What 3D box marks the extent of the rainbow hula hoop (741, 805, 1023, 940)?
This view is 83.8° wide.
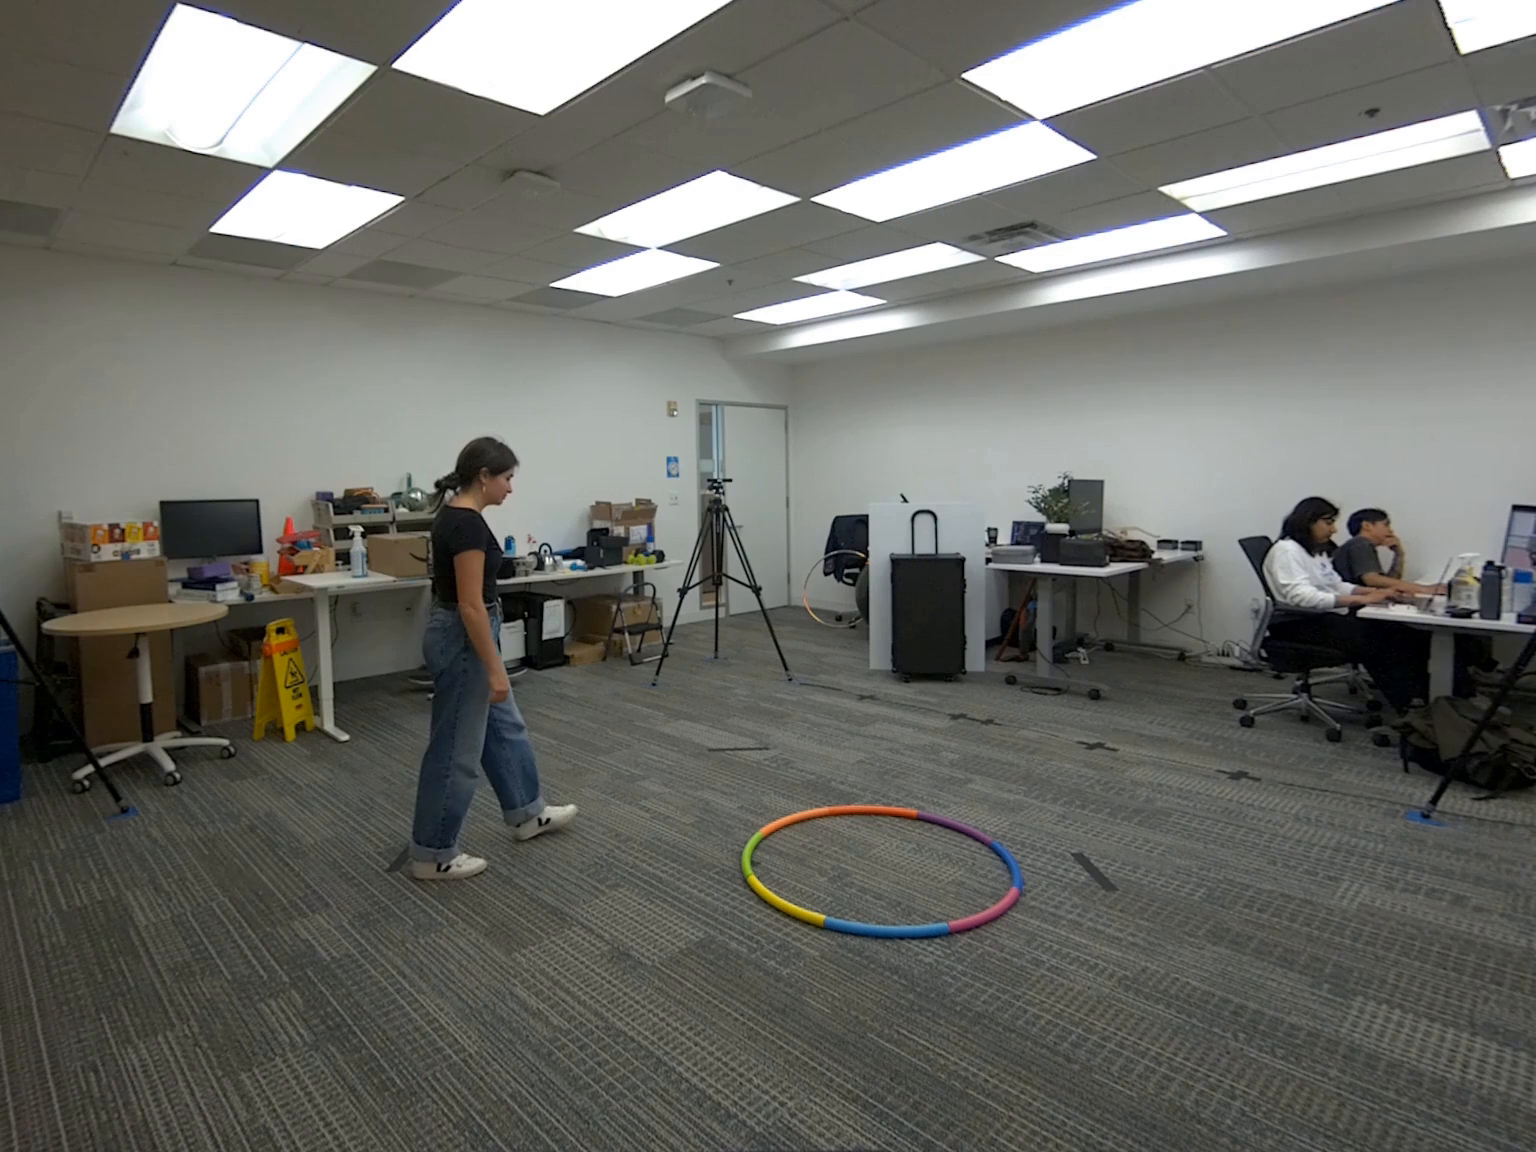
[{"bbox_3d":[0.388,1.010,3.076,0.978,0.035,0.984,-1,6,-2],"label":"rainbow hula hoop"}]
